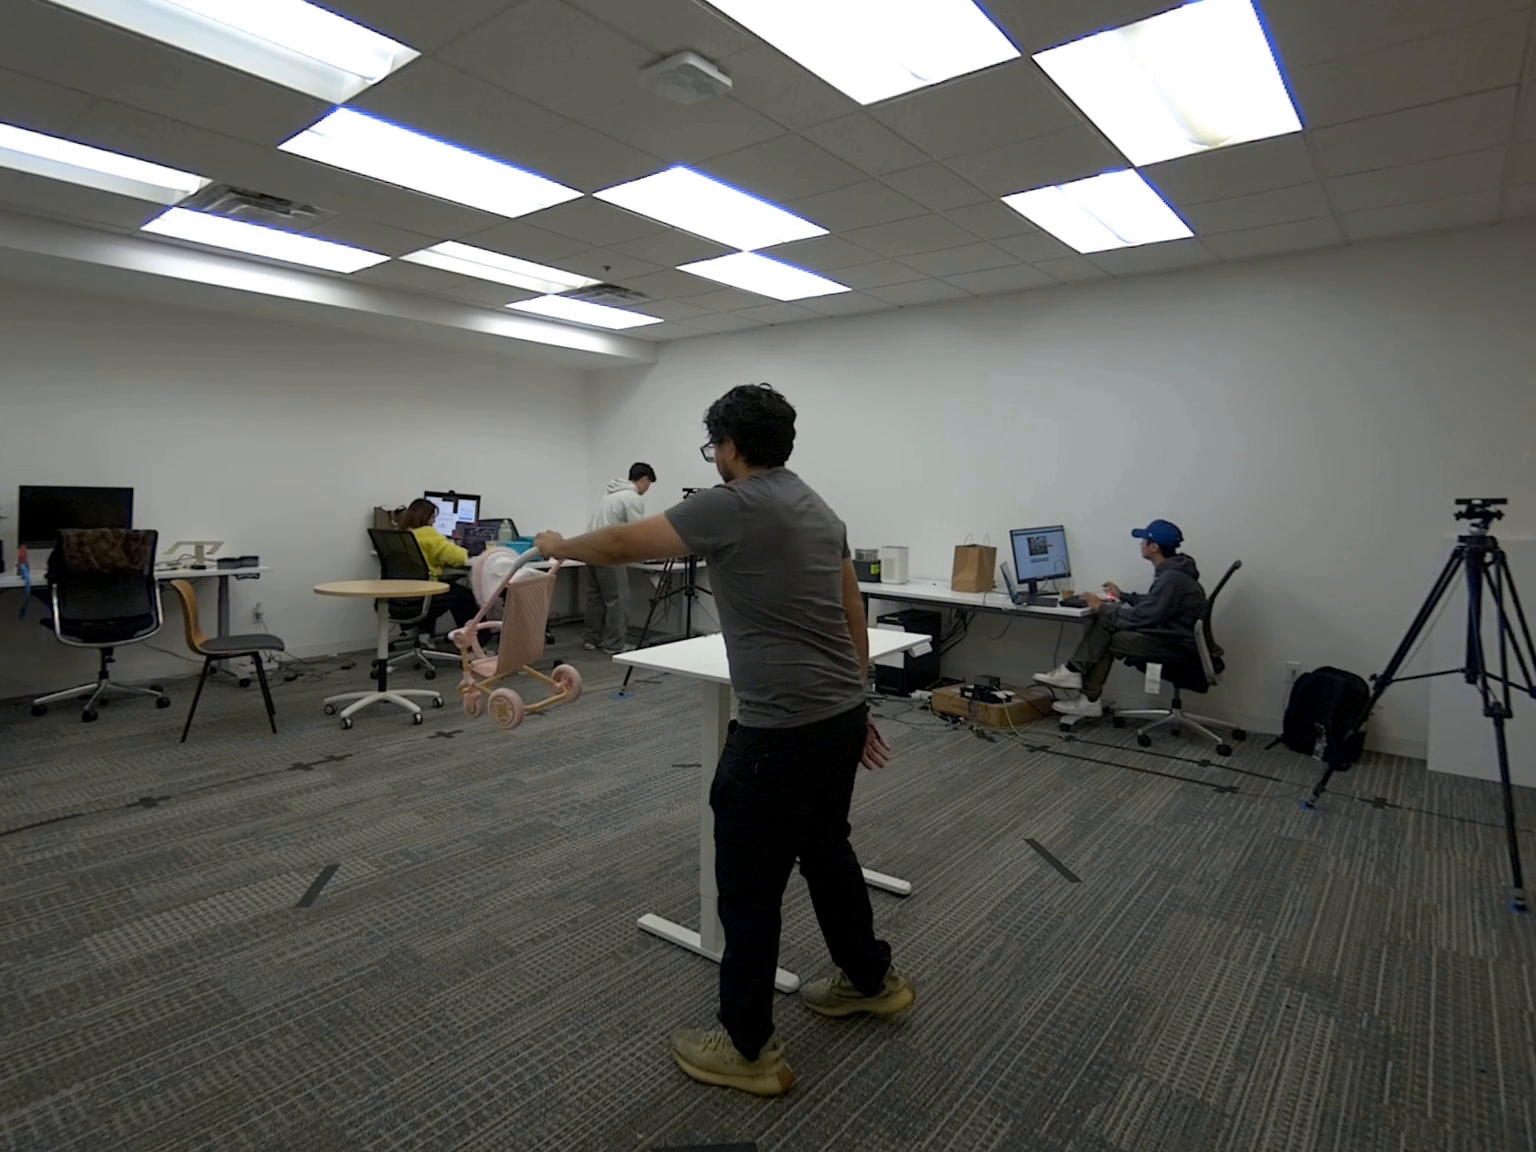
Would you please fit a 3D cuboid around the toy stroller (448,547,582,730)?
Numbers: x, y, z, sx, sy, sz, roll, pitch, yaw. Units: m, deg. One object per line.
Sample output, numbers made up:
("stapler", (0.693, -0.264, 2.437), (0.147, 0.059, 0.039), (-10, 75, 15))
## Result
("toy stroller", (-0.718, 0.153, 2.338), (0.352, 0.531, 0.275), (7, 10, 31))
